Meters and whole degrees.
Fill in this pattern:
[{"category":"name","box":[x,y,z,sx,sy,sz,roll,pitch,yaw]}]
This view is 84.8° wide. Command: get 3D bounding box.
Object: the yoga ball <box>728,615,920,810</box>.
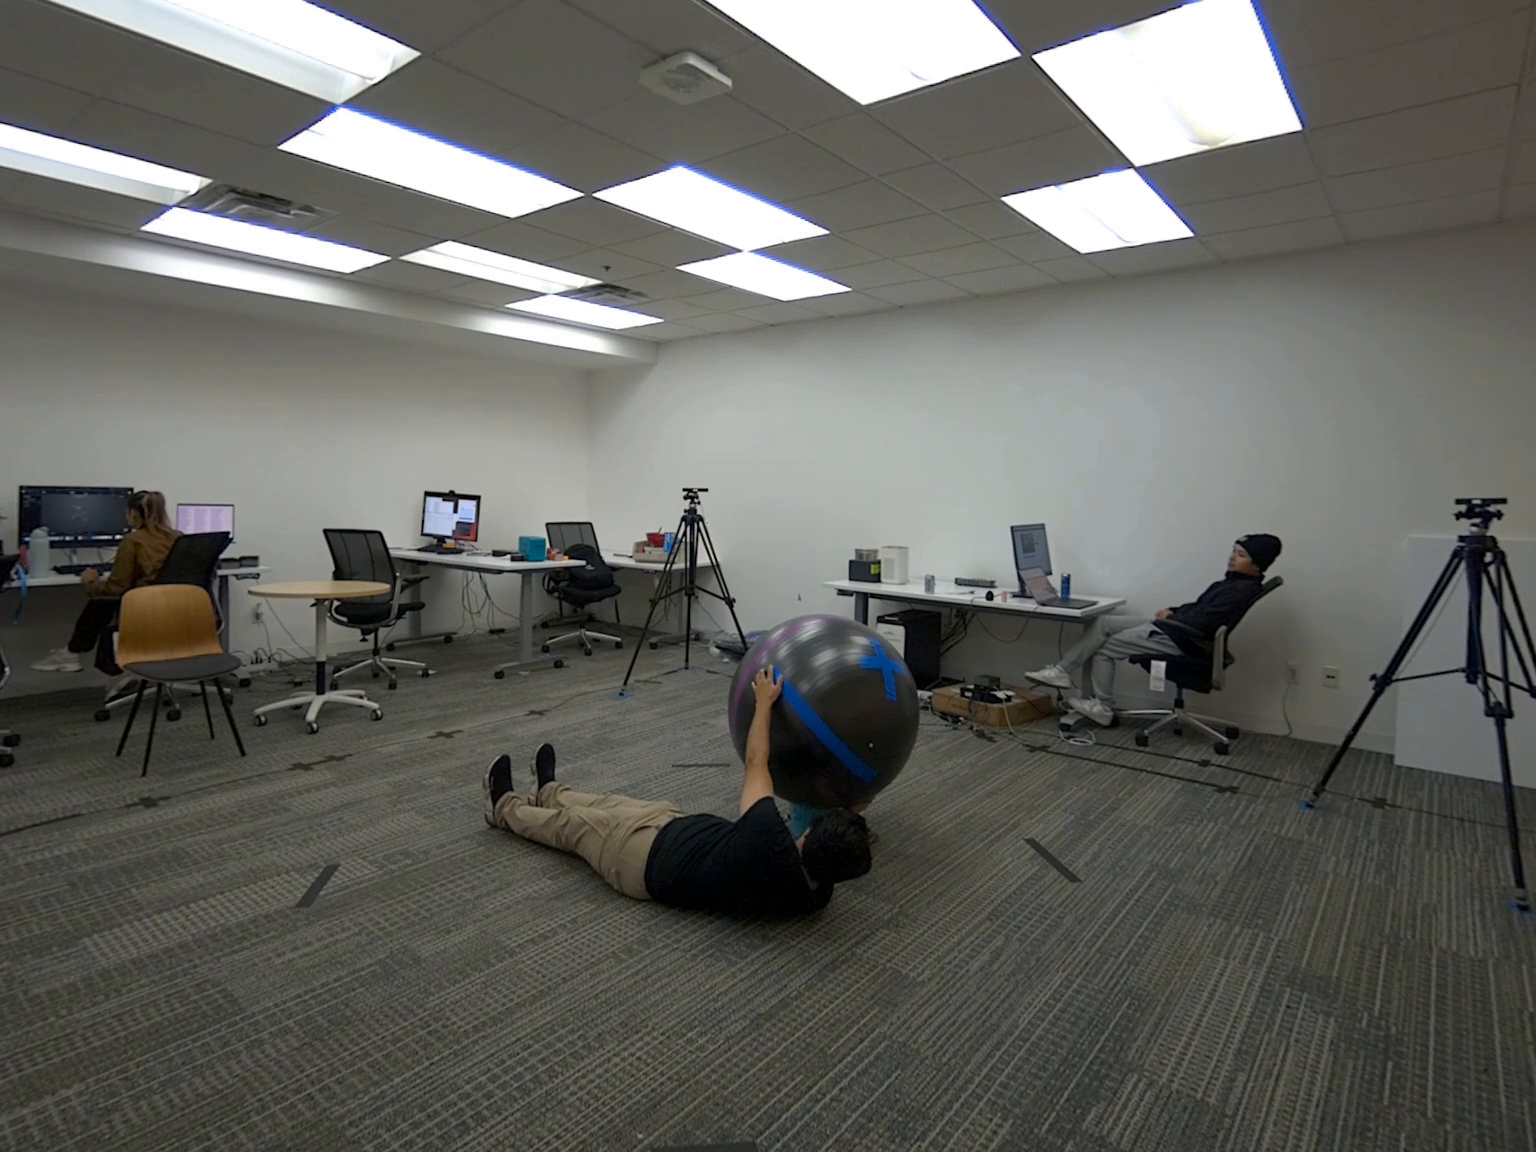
[{"category":"yoga ball","box":[0.208,0.537,3.401,0.757,0.756,0.761,0,4,-2]}]
